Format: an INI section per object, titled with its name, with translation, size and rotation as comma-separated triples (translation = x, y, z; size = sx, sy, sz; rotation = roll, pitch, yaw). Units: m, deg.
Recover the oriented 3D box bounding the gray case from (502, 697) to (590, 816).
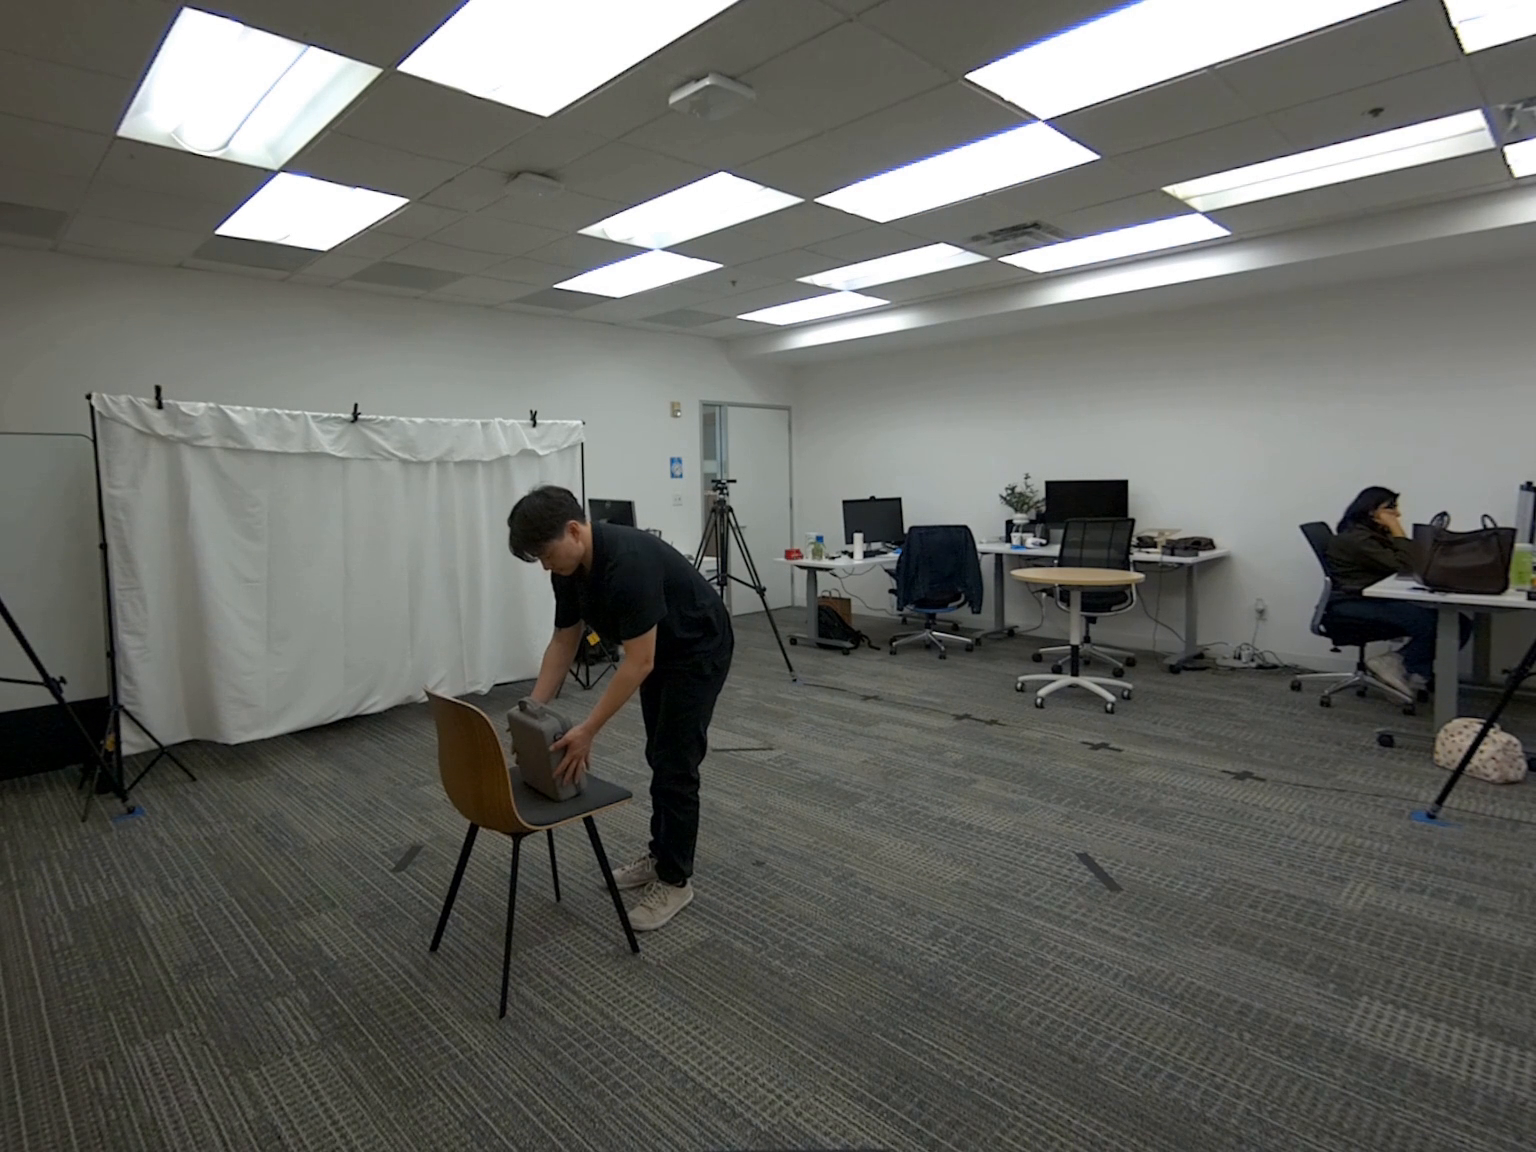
[gray case]
translation = -0.667, 0.529, 2.557
size = 0.103, 0.256, 0.264
rotation = -28, 17, -20
